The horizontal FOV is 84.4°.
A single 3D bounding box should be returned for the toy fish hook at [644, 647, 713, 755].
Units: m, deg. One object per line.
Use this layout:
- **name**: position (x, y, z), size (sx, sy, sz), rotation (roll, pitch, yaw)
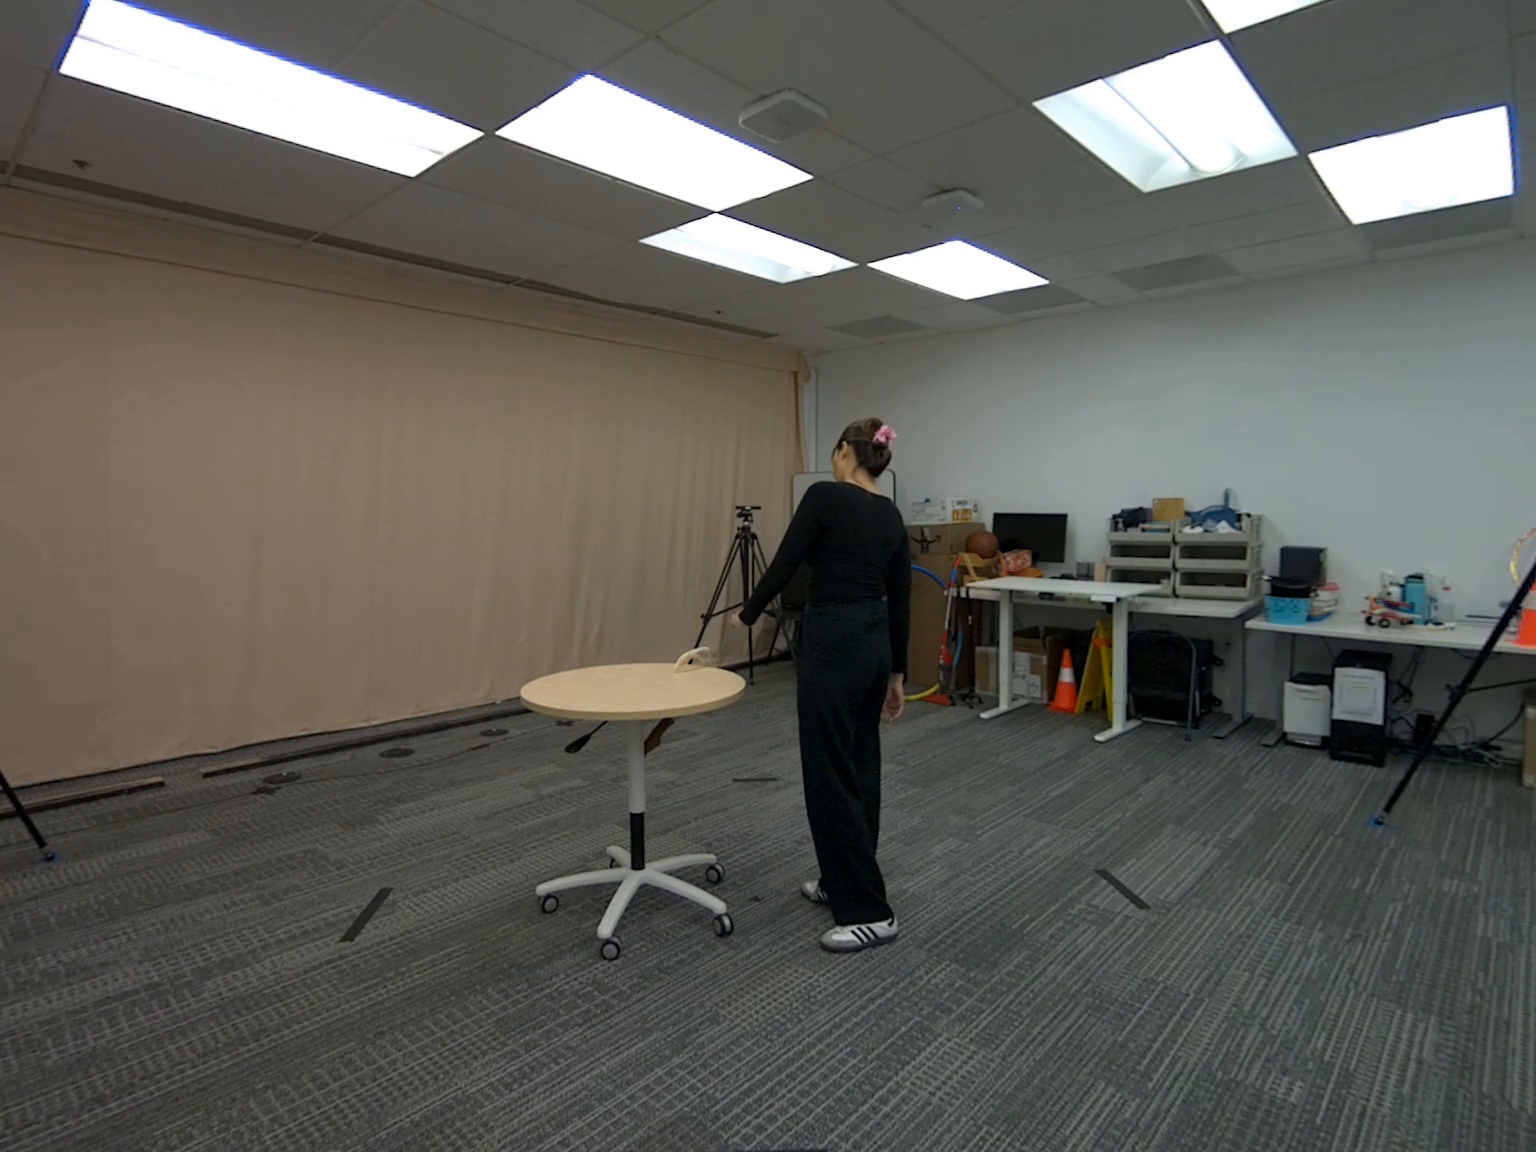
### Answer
- **toy fish hook**: position (-0.344, 0.457, 3.084), size (0.050, 0.220, 0.502), rotation (0, 33, 37)
